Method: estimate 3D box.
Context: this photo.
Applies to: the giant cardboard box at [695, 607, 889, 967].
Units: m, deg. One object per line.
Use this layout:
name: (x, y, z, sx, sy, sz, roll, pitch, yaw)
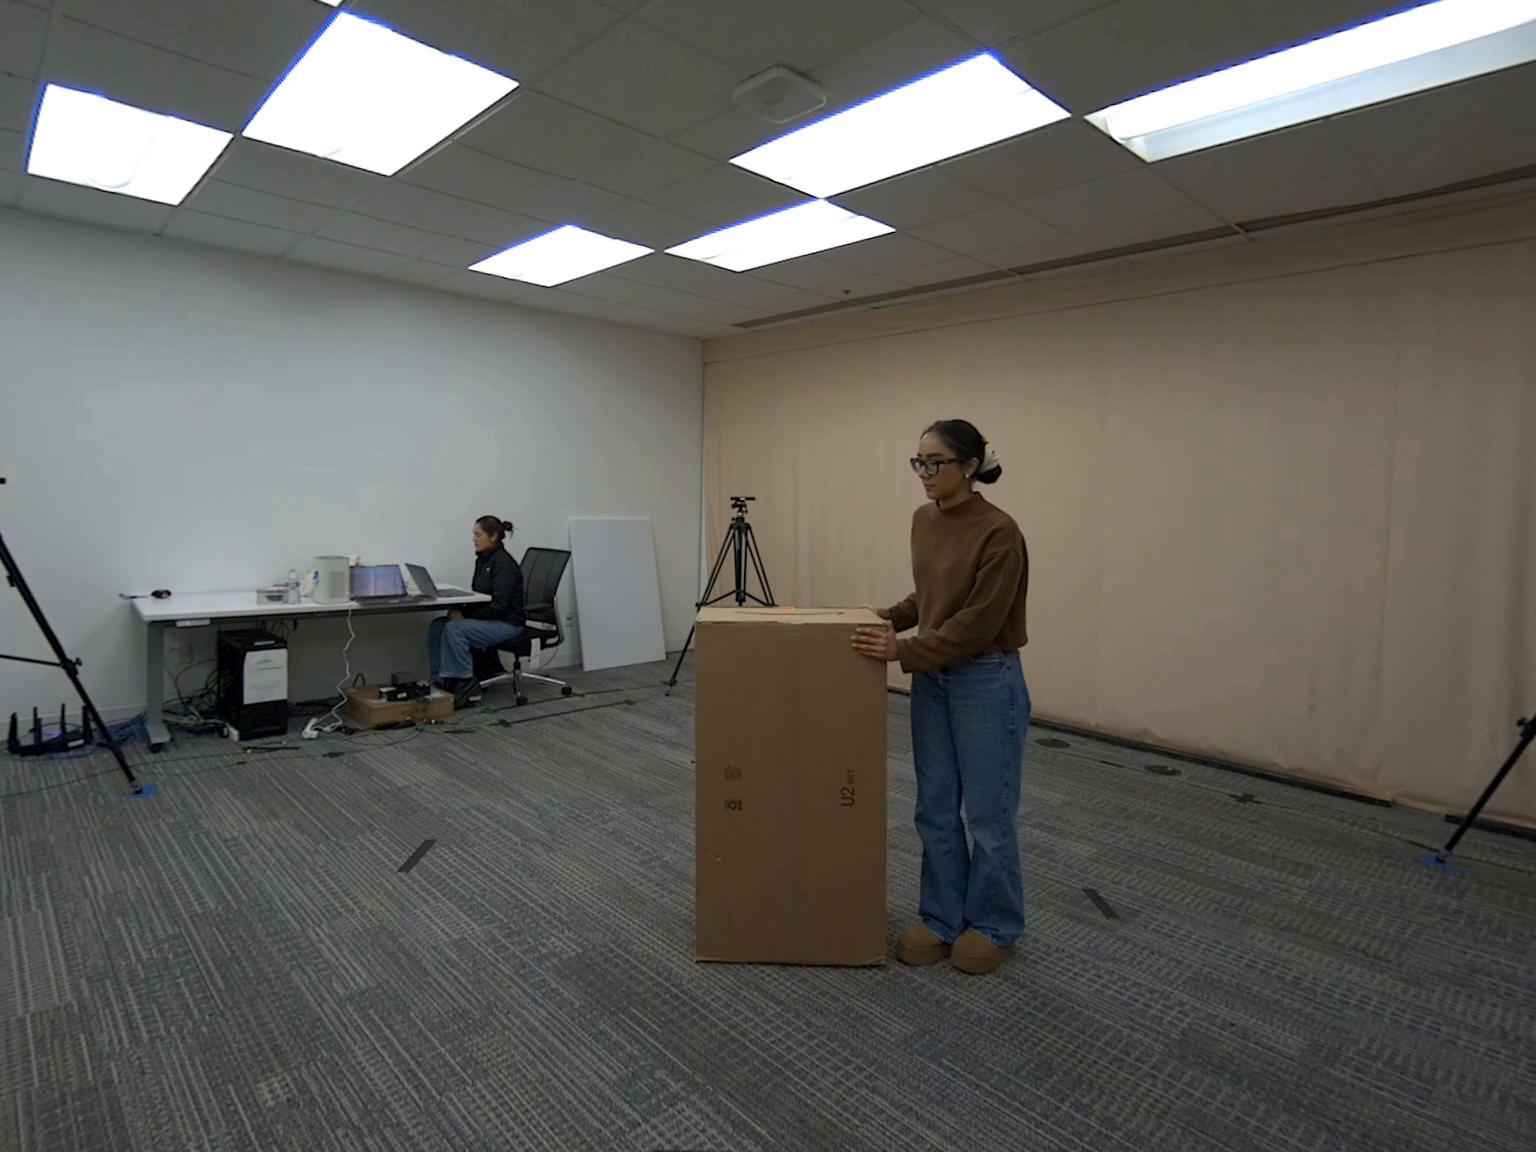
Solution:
giant cardboard box: (0.052, 0.633, 2.707, 0.578, 1.024, 0.426, 0, 2, 1)
